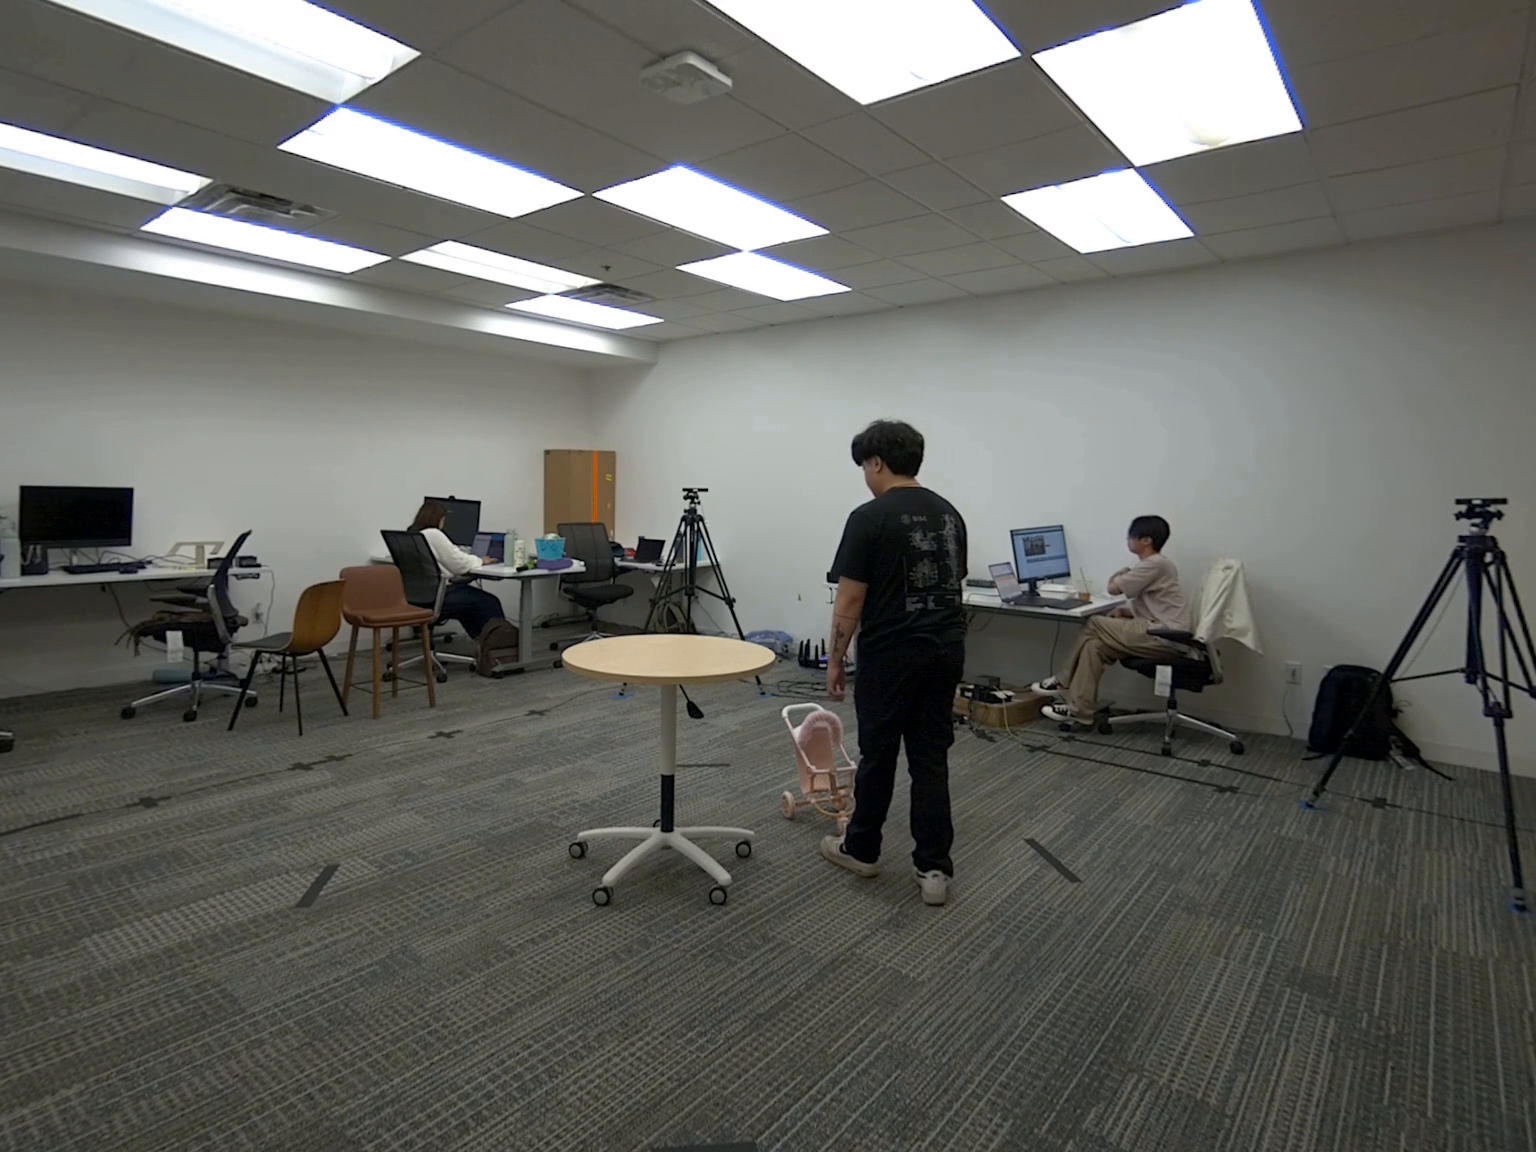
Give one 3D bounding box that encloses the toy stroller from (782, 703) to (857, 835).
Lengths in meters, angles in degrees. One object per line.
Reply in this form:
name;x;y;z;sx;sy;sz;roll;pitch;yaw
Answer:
toy stroller;0.218;0.807;3.599;0.276;0.541;0.344;0;-11;-20
